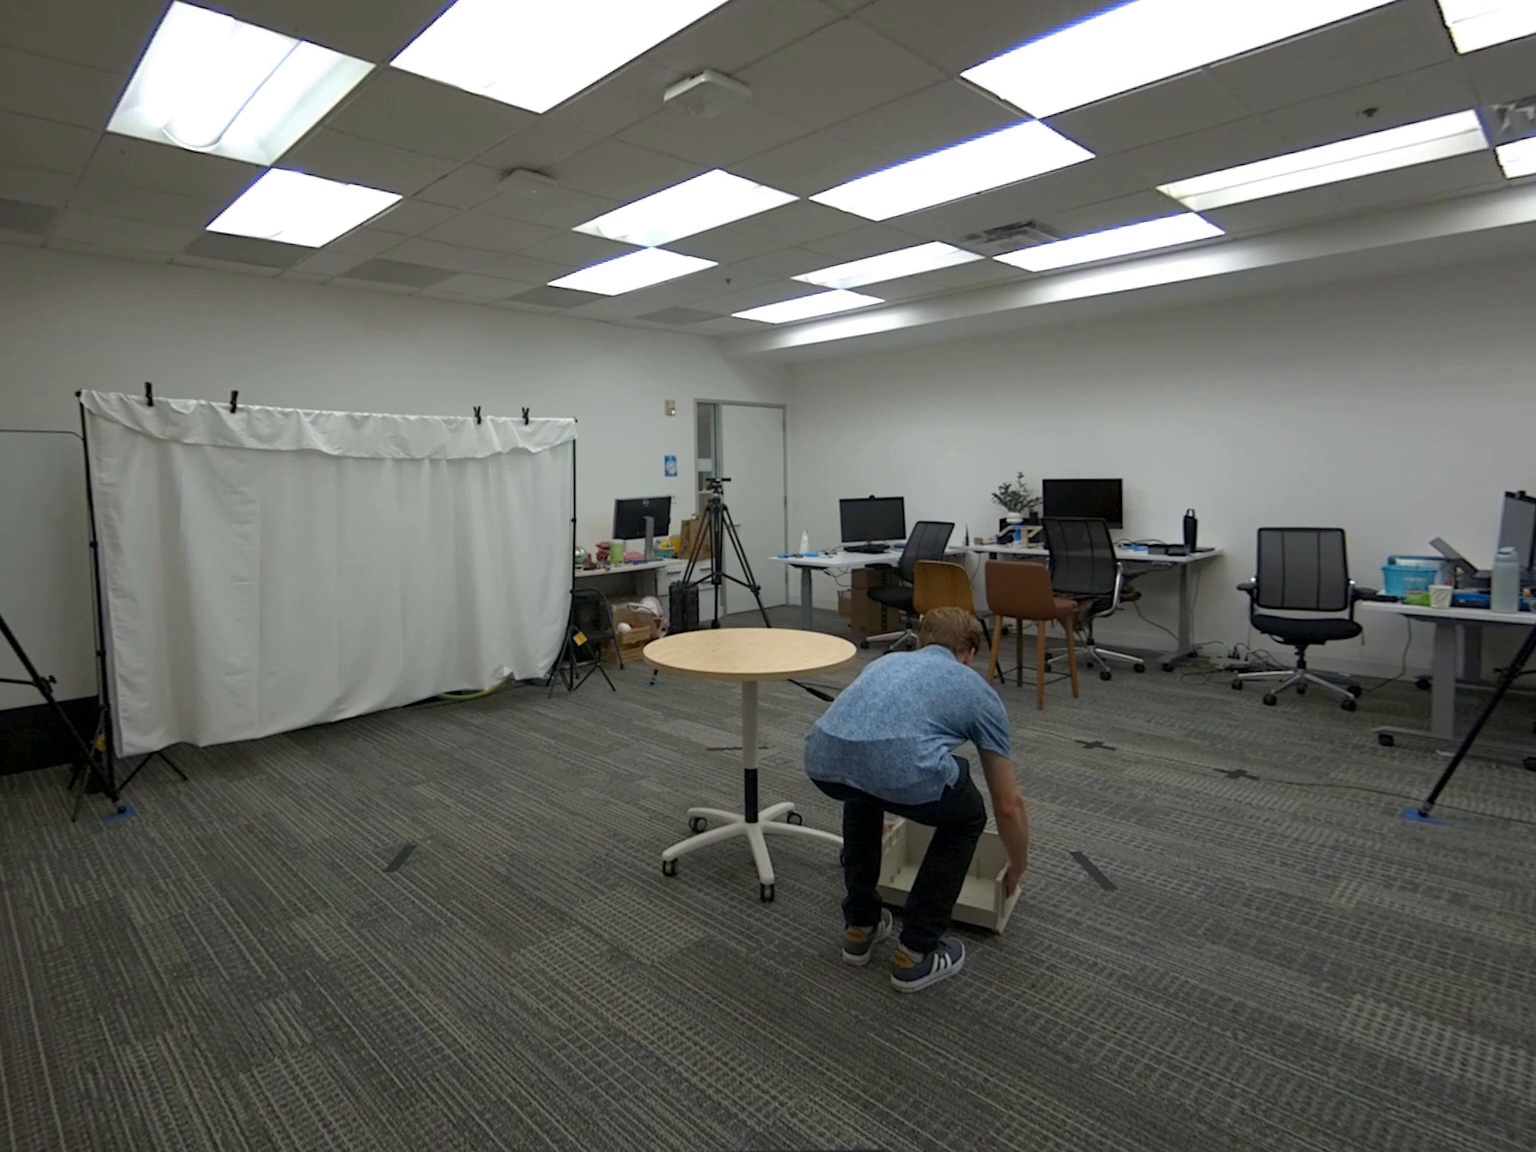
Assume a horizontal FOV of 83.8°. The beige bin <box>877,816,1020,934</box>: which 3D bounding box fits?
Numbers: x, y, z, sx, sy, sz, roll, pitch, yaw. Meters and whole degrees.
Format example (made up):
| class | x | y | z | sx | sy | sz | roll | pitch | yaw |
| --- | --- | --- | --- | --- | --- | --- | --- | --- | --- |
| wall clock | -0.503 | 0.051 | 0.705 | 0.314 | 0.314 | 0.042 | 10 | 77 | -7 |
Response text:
| class | x | y | z | sx | sy | sz | roll | pitch | yaw |
| --- | --- | --- | --- | --- | --- | --- | --- | --- | --- |
| beige bin | 0.593 | 0.975 | 2.808 | 0.433 | 0.188 | 0.369 | 2 | 5 | 29 |
